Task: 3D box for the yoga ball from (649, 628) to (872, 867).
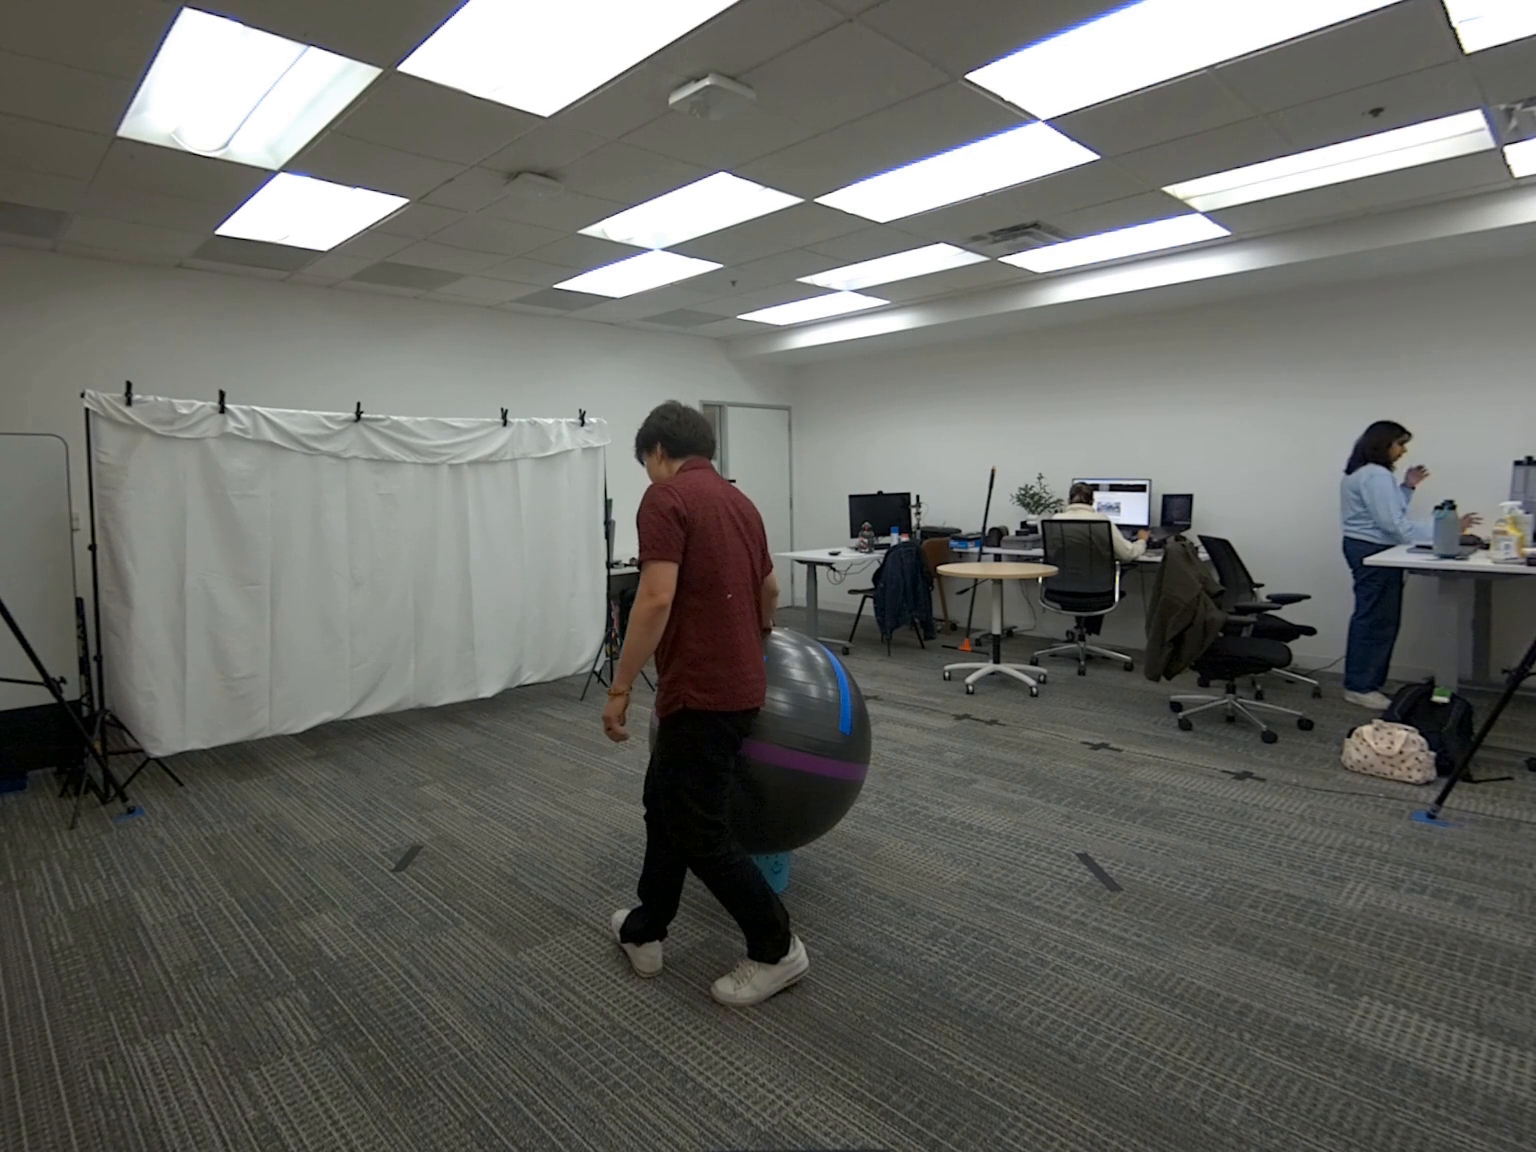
[{"bbox_3d":[-0.026,0.556,2.938,0.757,0.755,0.762,-1,5,-2],"label":"yoga ball"}]
